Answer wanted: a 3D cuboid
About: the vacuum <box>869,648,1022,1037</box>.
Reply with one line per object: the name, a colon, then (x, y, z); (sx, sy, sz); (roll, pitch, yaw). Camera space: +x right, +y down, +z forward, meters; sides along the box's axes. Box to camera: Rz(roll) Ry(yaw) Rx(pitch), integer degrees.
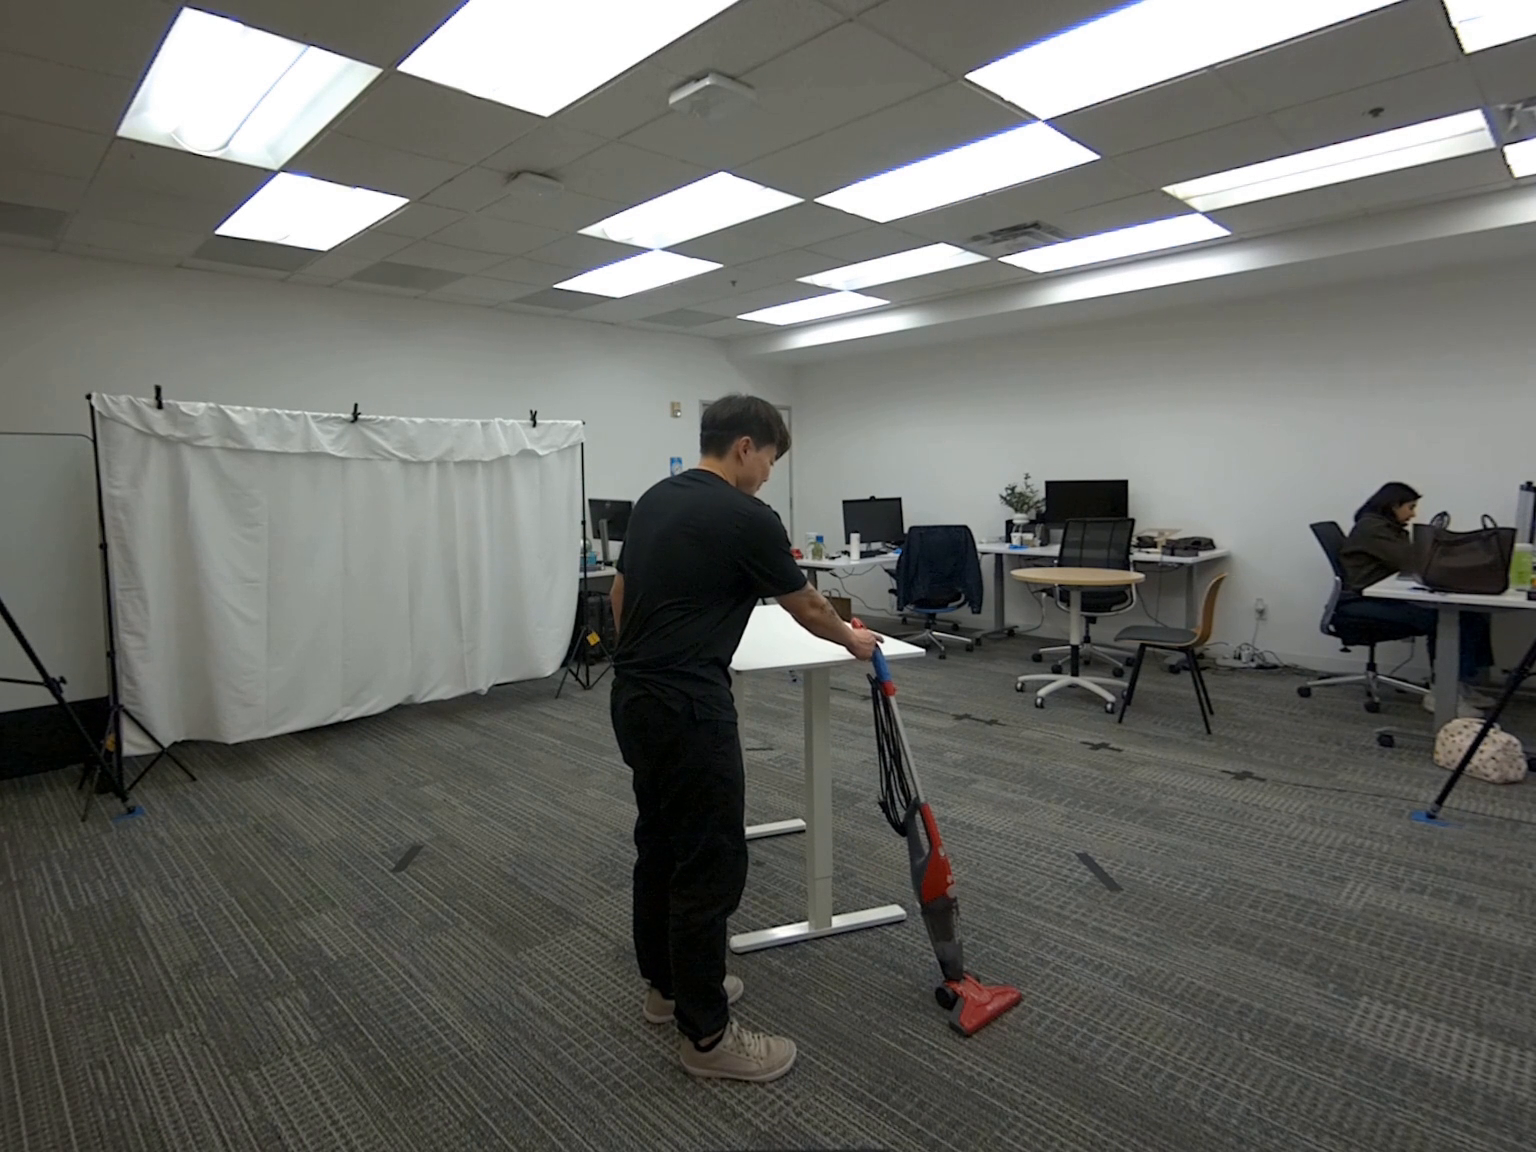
vacuum: (0.412, 0.643, 2.375); (0.245, 1.066, 0.146); (-2, -19, -44)
